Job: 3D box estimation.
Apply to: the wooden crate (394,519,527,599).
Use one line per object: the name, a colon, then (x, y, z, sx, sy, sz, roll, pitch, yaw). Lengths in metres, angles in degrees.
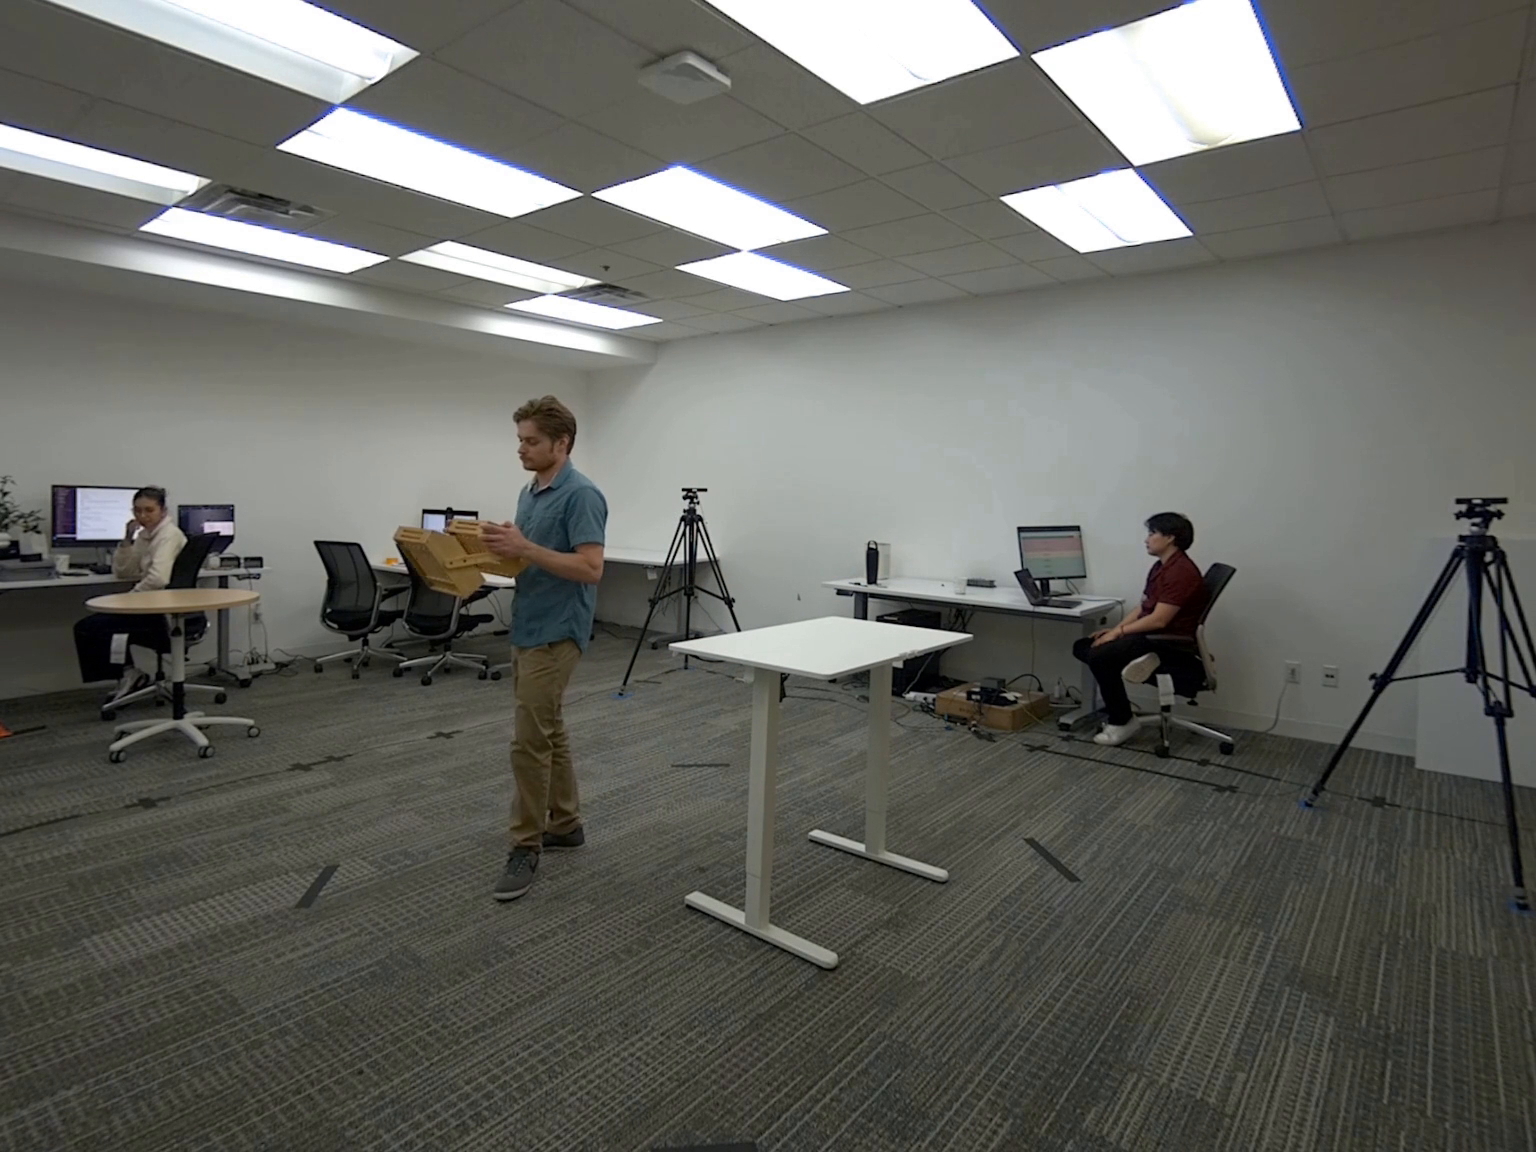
wooden crate: (-1.073, -0.103, 2.935, 0.336, 0.292, 0.272, 7, 43, 47)
